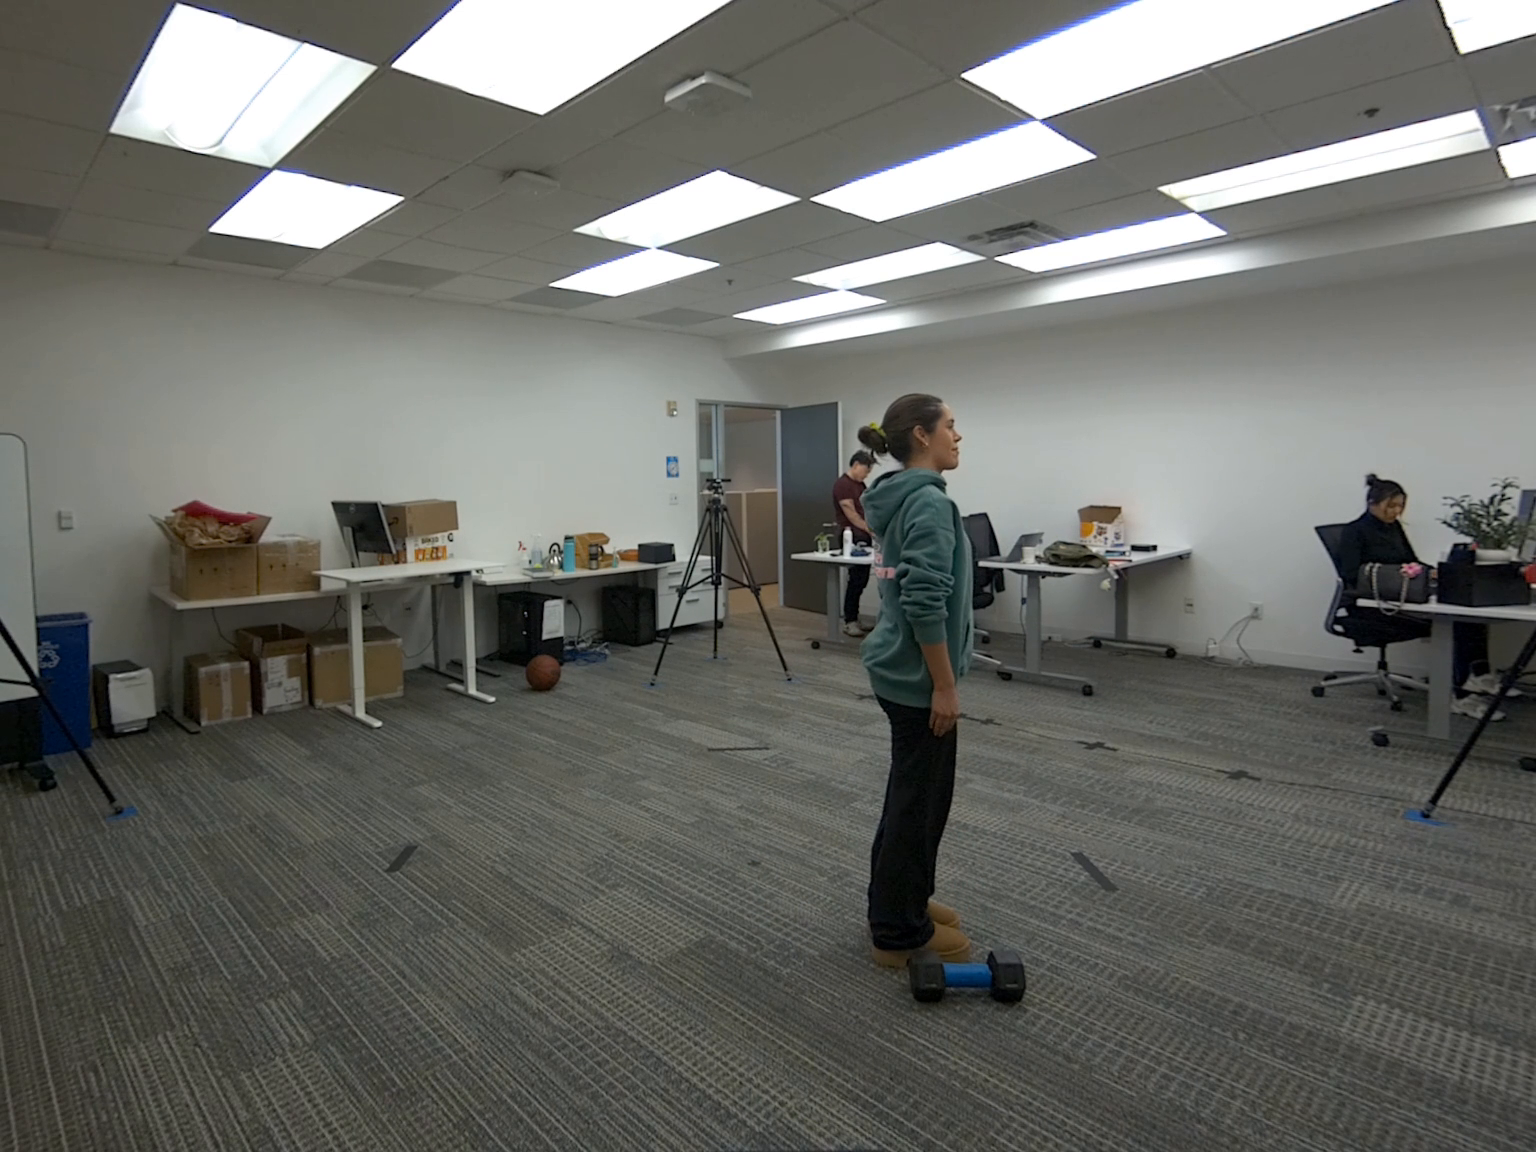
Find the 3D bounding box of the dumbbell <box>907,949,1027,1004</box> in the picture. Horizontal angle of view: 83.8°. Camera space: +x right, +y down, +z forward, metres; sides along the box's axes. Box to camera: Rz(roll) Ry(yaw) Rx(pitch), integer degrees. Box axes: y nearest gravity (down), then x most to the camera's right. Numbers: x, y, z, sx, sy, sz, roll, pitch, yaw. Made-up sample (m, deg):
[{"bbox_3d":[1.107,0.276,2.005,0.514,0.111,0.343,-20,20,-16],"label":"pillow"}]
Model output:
[{"bbox_3d":[0.541,1.077,2.291,0.294,0.120,0.111,-1,34,2],"label":"dumbbell"}]
